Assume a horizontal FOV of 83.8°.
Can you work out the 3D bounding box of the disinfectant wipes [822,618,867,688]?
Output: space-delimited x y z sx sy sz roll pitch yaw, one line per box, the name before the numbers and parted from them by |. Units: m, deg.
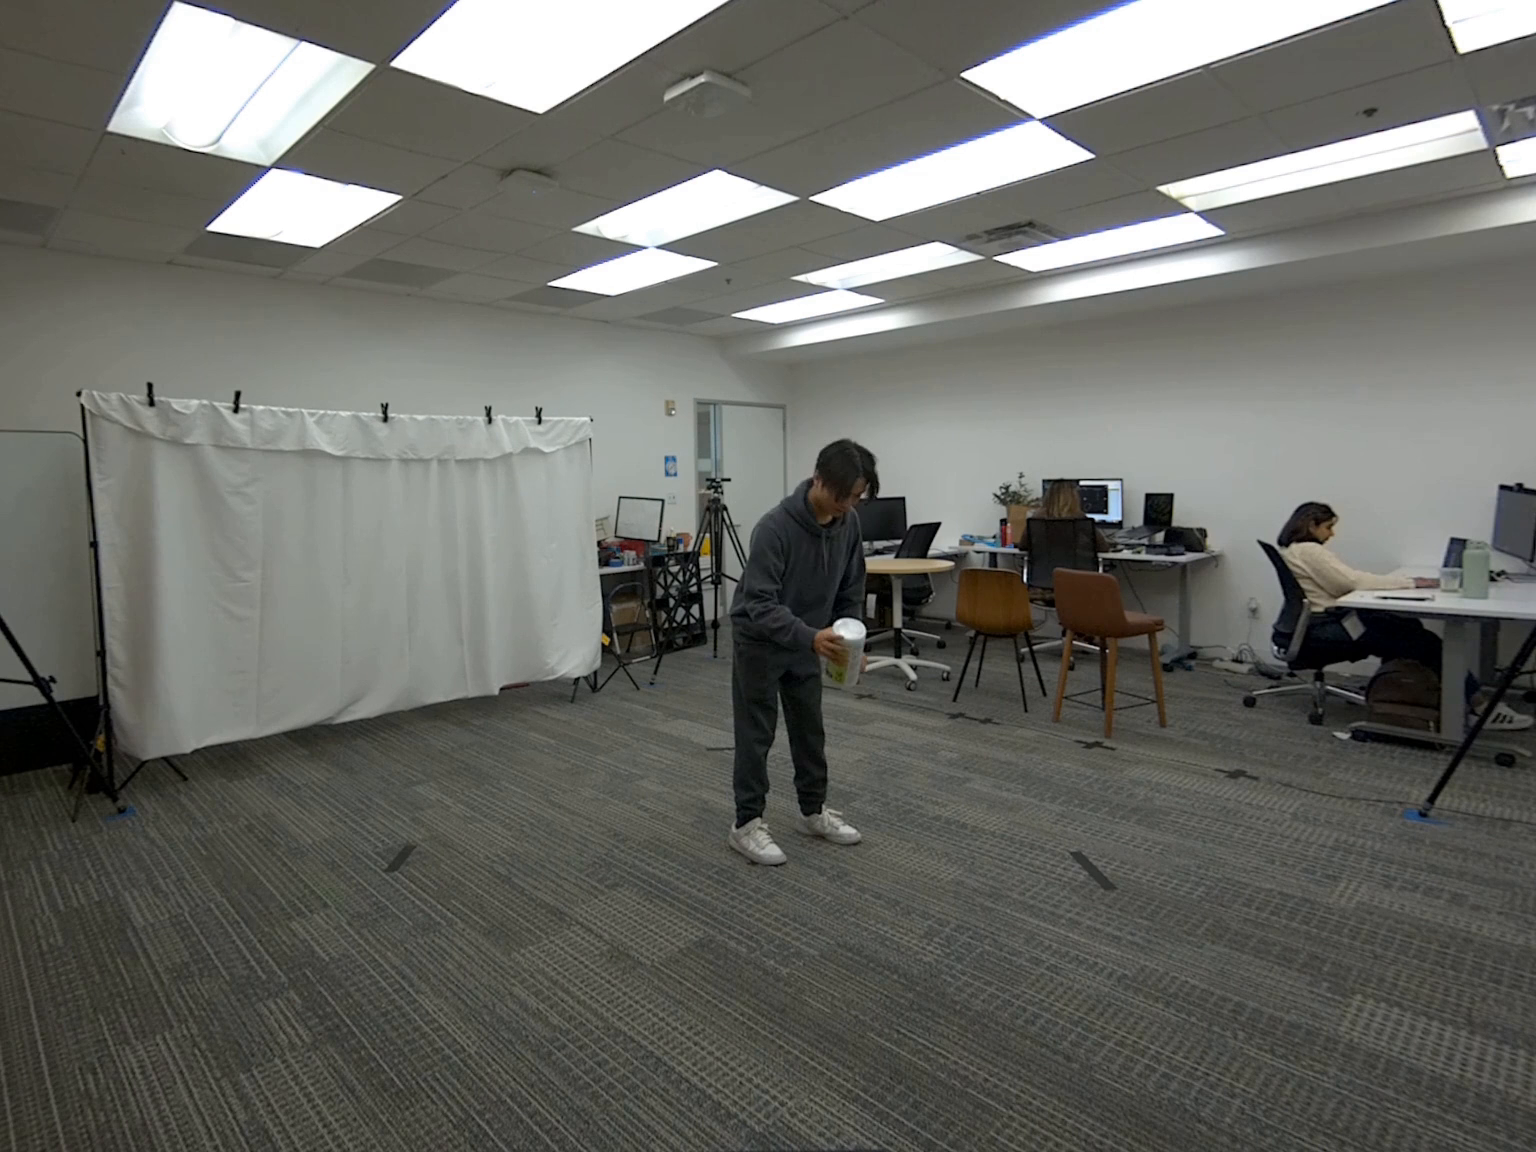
disinfectant wipes | 0.248 0.256 2.784 0.117 0.212 0.121 2 35 -3
